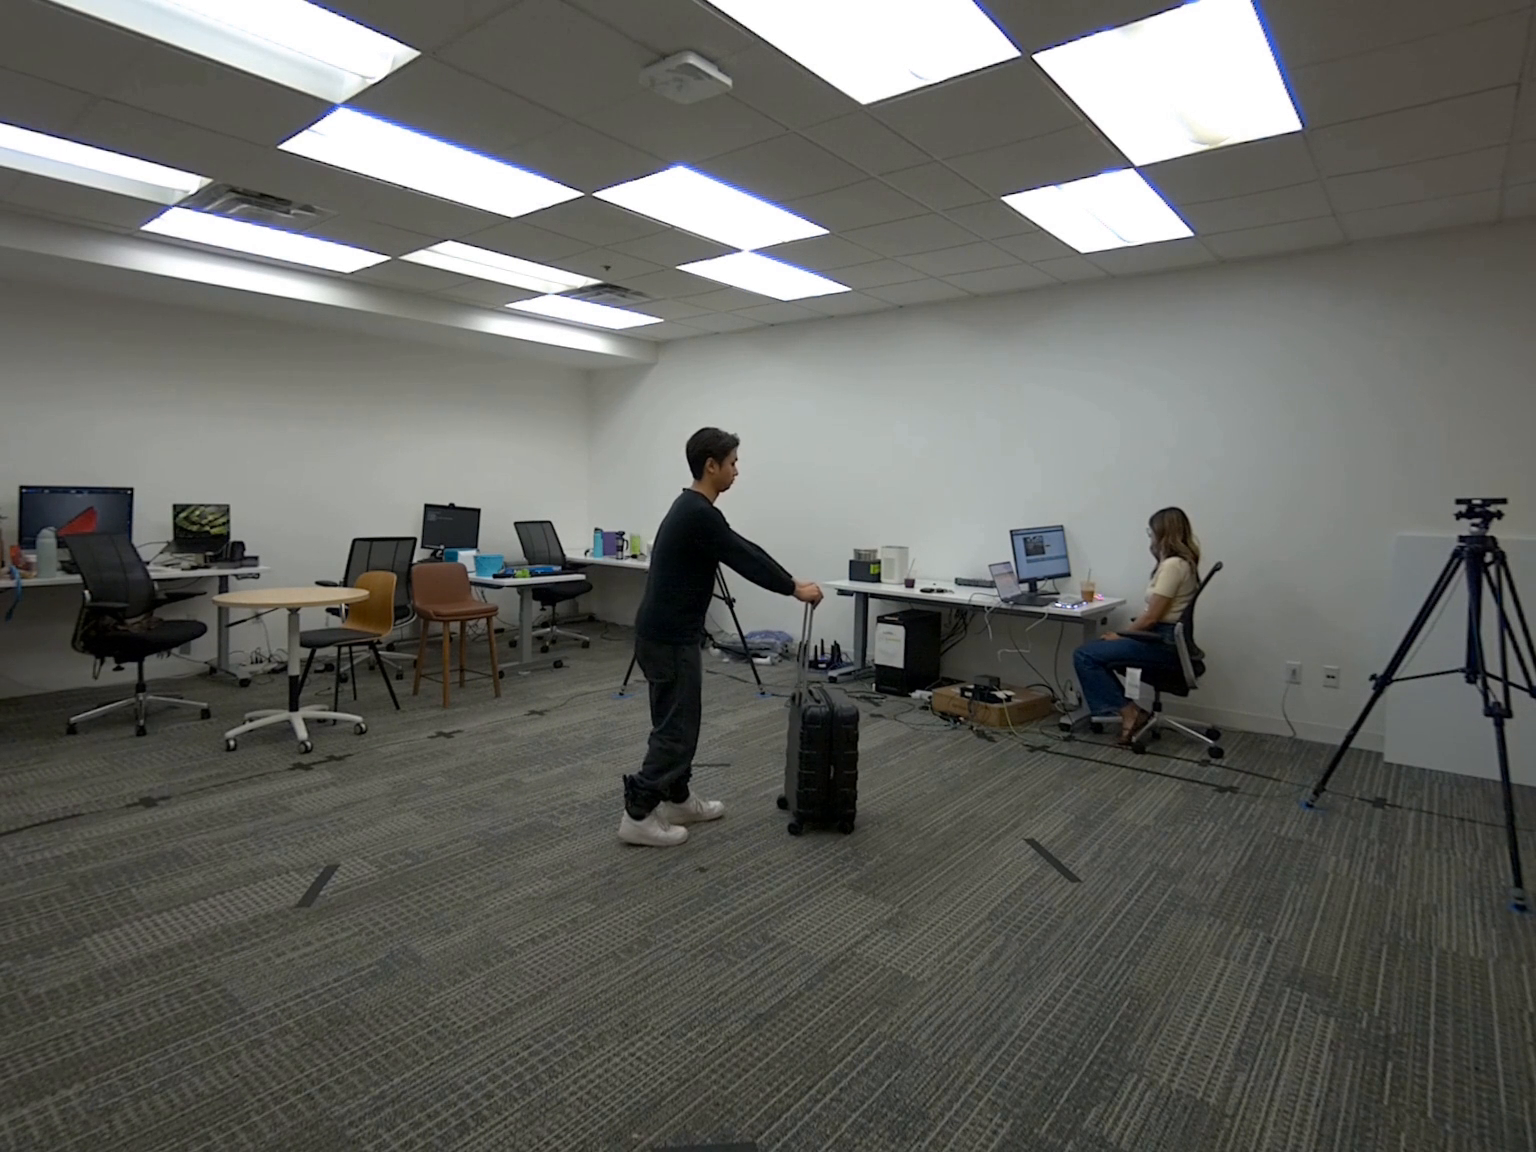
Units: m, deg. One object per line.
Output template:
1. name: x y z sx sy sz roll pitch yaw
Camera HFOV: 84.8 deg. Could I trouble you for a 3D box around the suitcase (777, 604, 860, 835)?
1. suitcase: 0.224 0.564 3.570 0.255 0.975 0.388 4 4 -7
